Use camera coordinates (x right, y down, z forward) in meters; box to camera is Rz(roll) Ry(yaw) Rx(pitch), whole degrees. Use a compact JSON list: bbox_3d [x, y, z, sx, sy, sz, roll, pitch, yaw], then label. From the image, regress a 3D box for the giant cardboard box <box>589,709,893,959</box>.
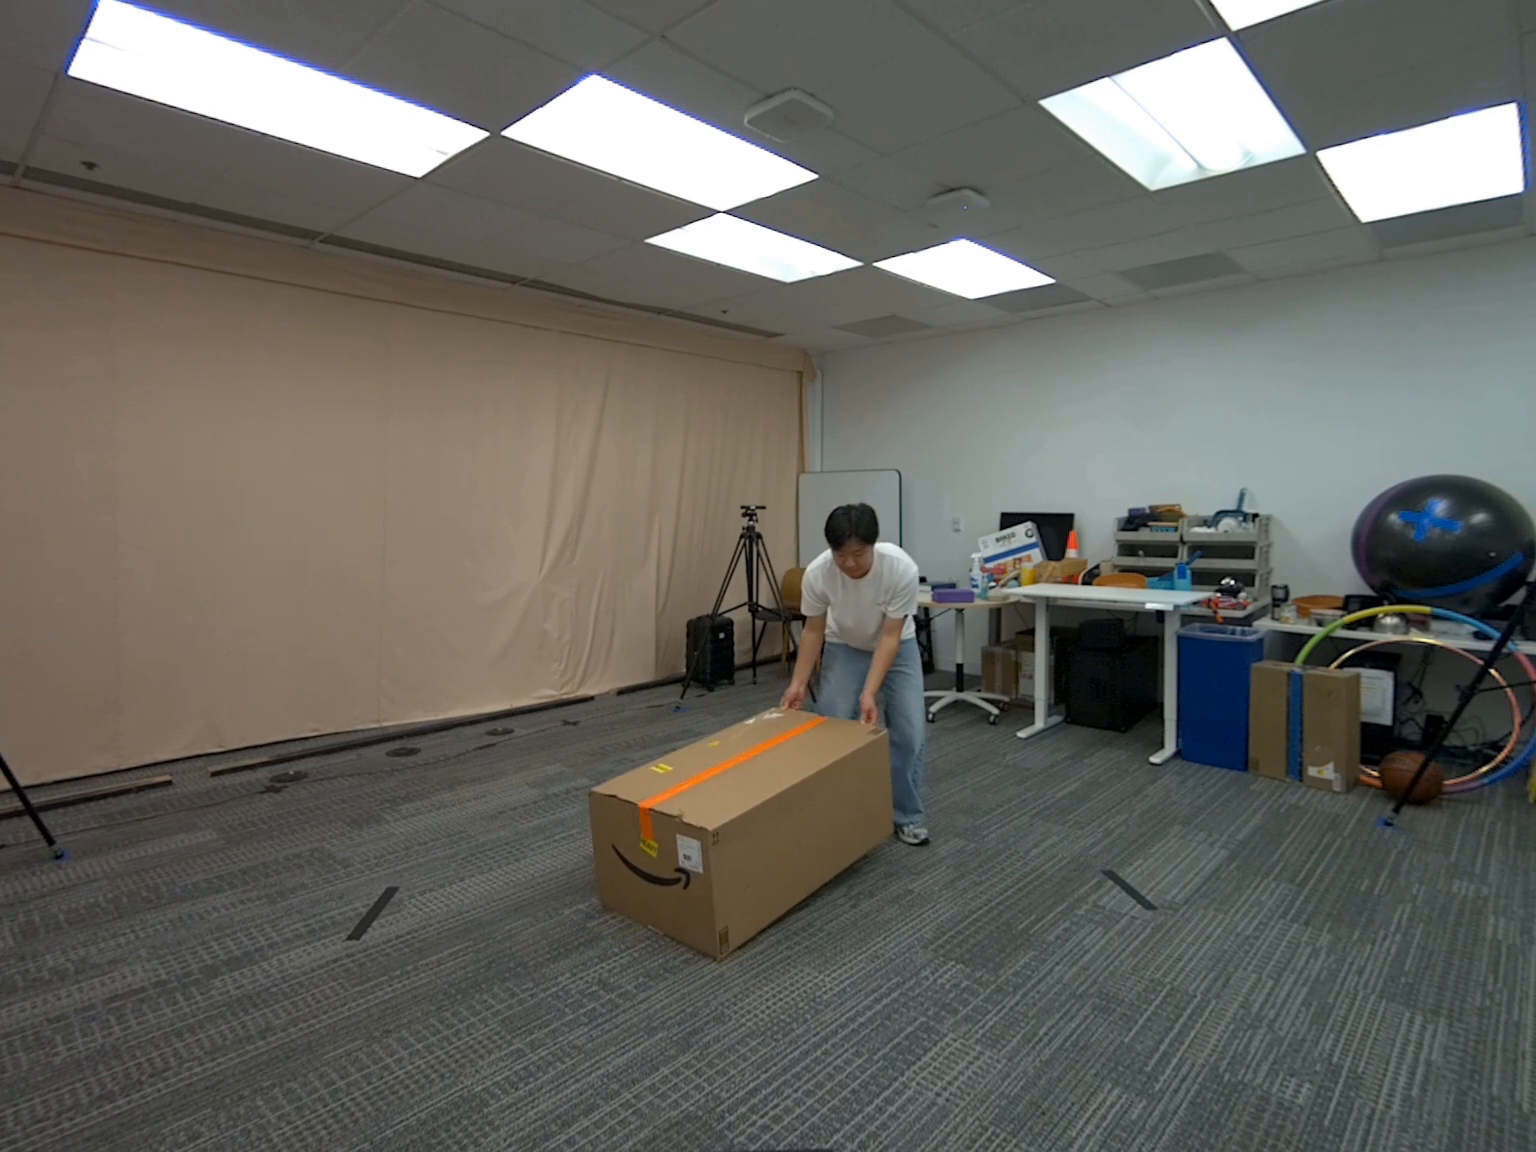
[{"bbox_3d":[-0.061,0.873,3.090,0.596,0.424,0.998,2,11,41],"label":"giant cardboard box"}]
